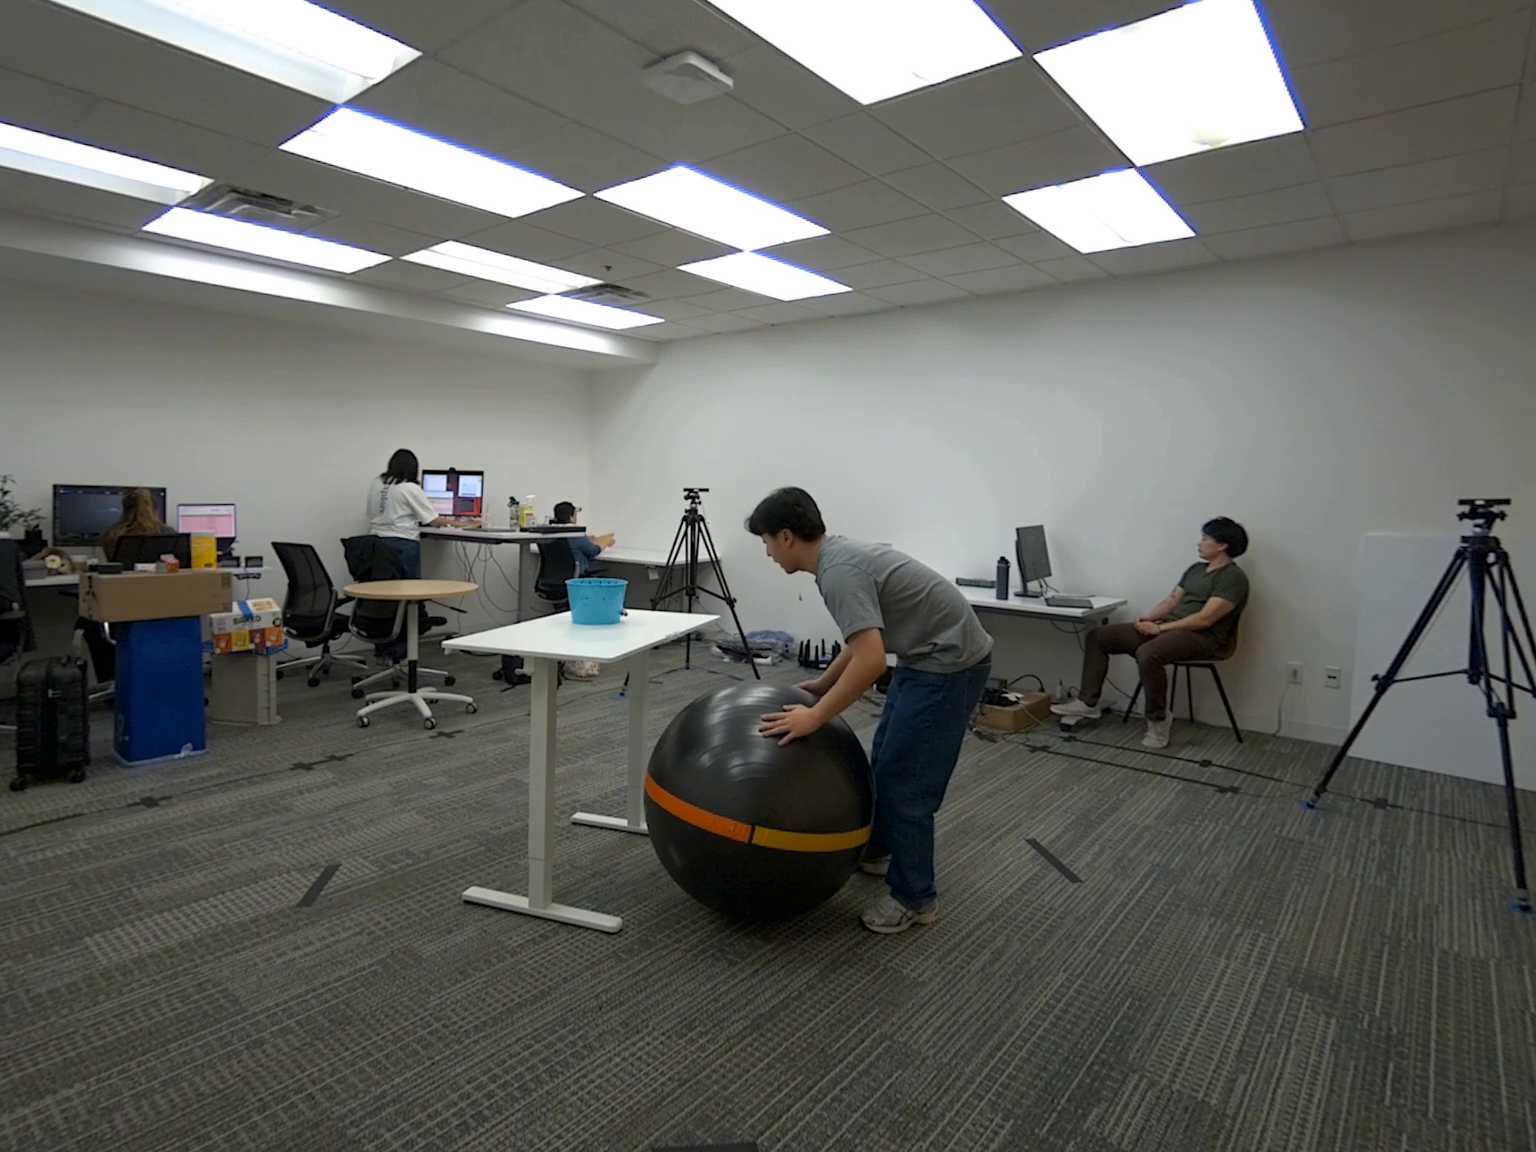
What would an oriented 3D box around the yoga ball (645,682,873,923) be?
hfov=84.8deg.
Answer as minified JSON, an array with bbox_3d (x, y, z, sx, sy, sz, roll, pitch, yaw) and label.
[{"bbox_3d":[-0.047,0.730,2.820,0.757,0.755,0.762,1,4,-2],"label":"yoga ball"}]
